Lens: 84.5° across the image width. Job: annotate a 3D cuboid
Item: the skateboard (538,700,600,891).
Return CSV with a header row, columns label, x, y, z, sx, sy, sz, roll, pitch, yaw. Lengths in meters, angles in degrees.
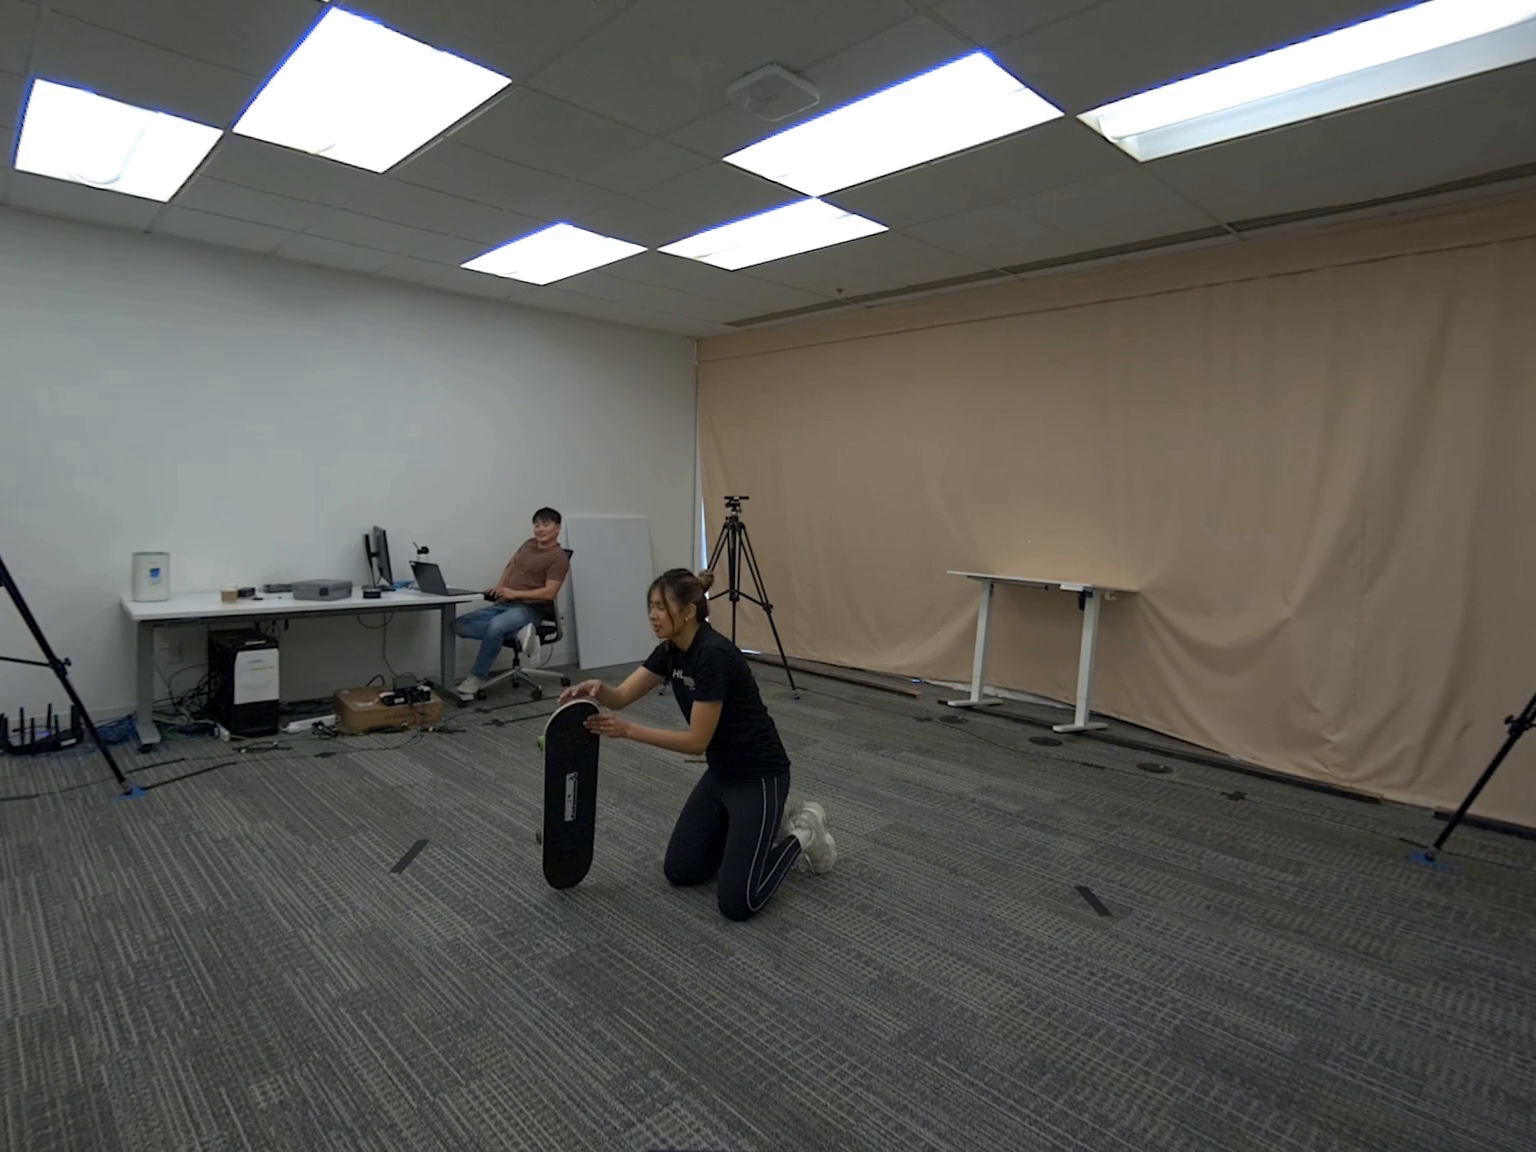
label,x,y,z,sx,sy,sz,roll,pitch,yaw
skateboard,-0.681,0.732,2.850,0.190,0.774,0.114,-10,29,-34
